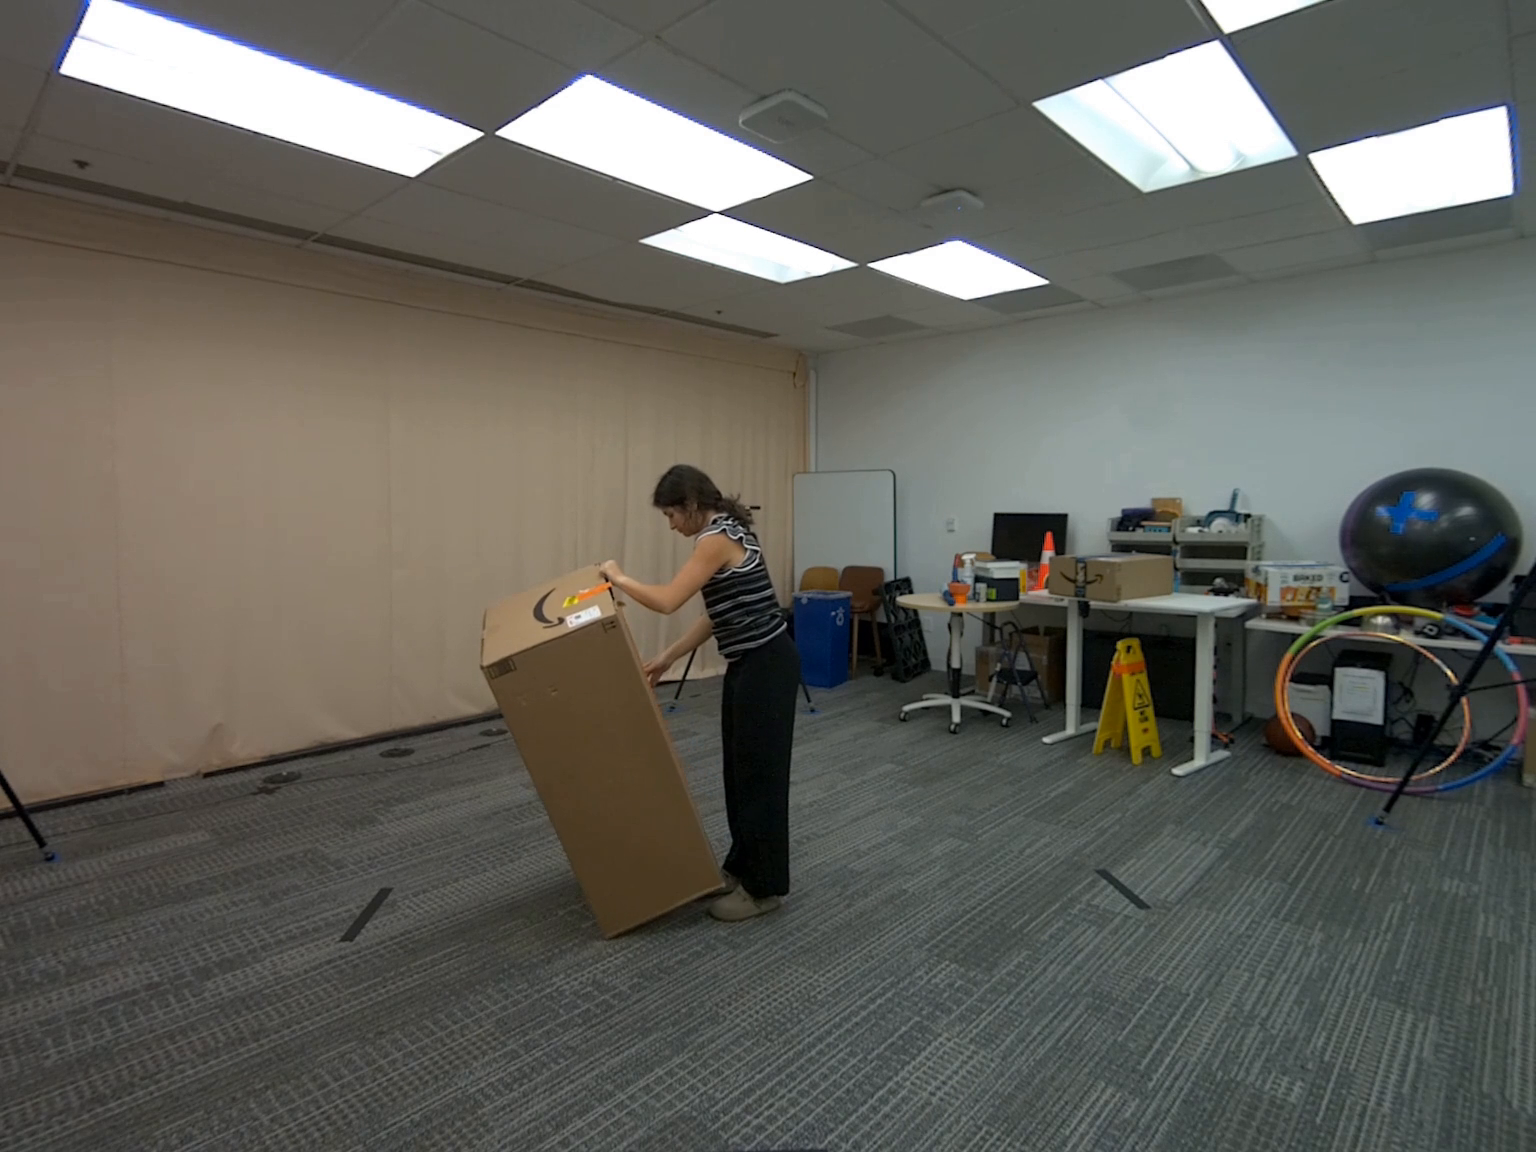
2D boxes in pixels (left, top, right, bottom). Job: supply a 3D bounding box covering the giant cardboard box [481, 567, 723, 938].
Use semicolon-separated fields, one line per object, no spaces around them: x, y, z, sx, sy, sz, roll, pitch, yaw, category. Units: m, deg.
-0.568;0.561;2.847;0.424;1.010;0.590;-20;18;-8;giant cardboard box
